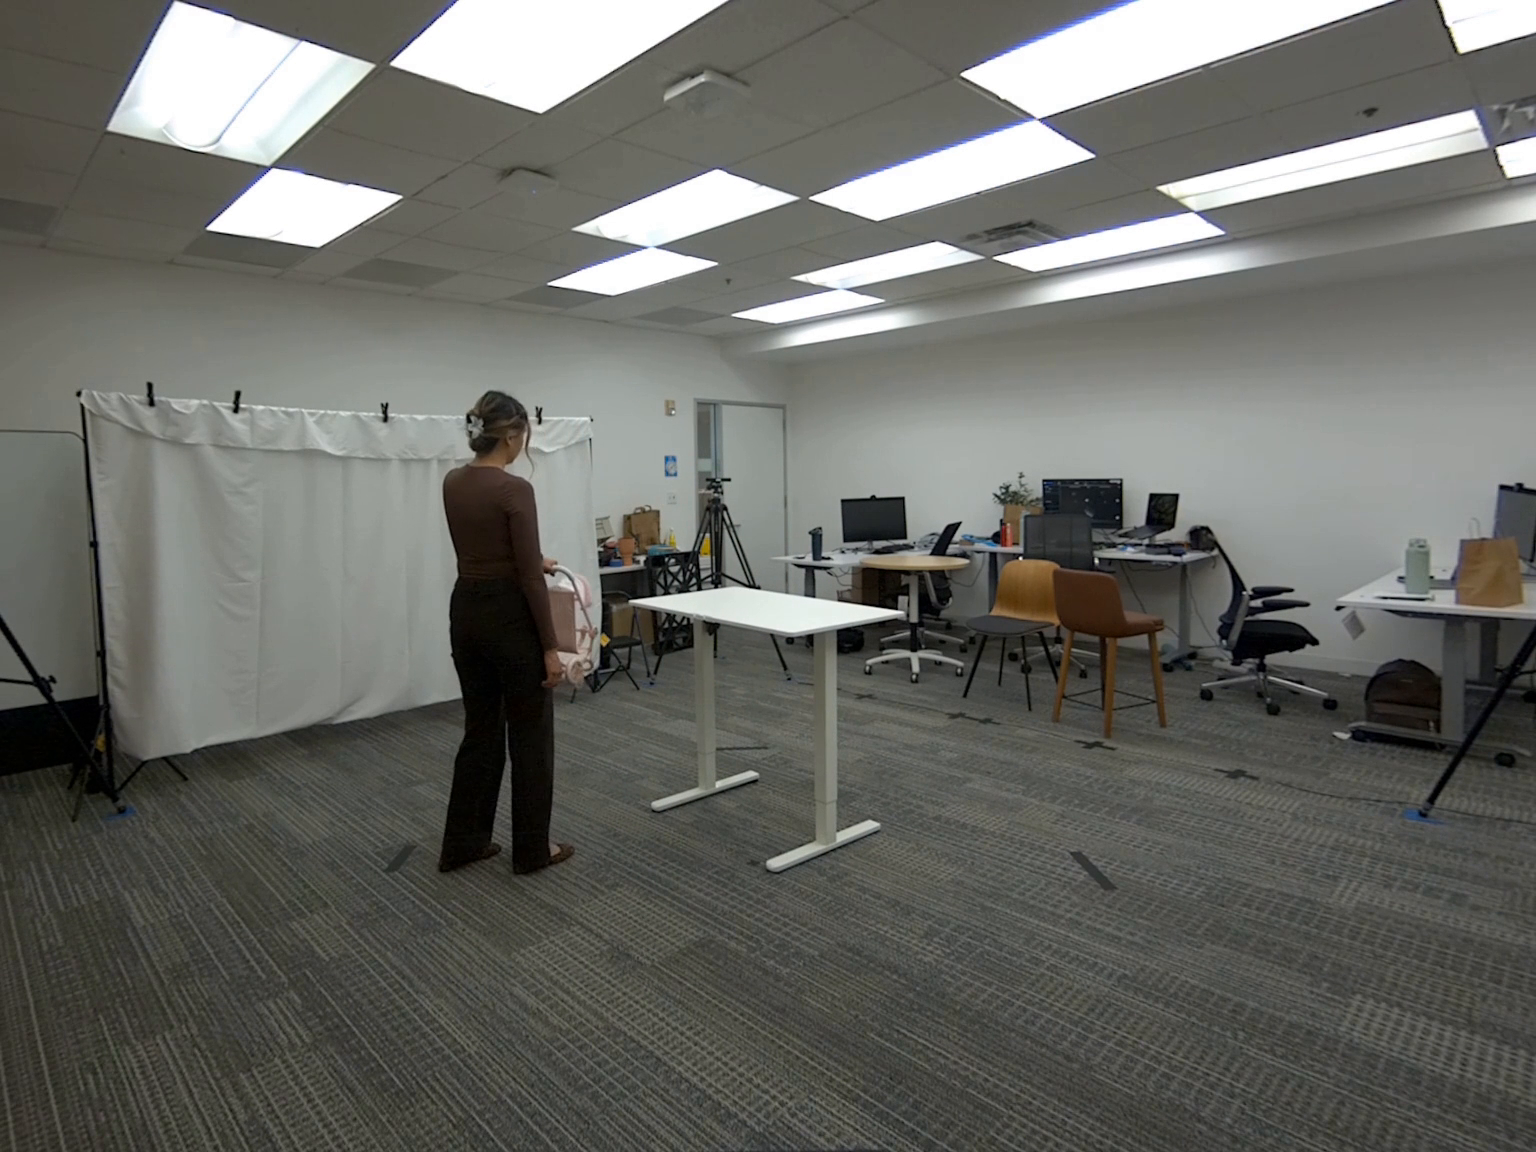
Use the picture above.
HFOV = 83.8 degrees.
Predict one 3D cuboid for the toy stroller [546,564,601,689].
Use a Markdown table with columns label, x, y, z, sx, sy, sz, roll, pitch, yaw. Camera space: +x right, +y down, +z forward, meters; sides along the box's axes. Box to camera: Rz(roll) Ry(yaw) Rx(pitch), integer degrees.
| label | x | y | z | sx | sy | sz | roll | pitch | yaw |
| --- | --- | --- | --- | --- | --- | --- | --- | --- | --- |
| toy stroller | -0.867 | 0.226 | 3.662 | 0.288 | 0.536 | 0.332 | 2 | -3 | 26 |
